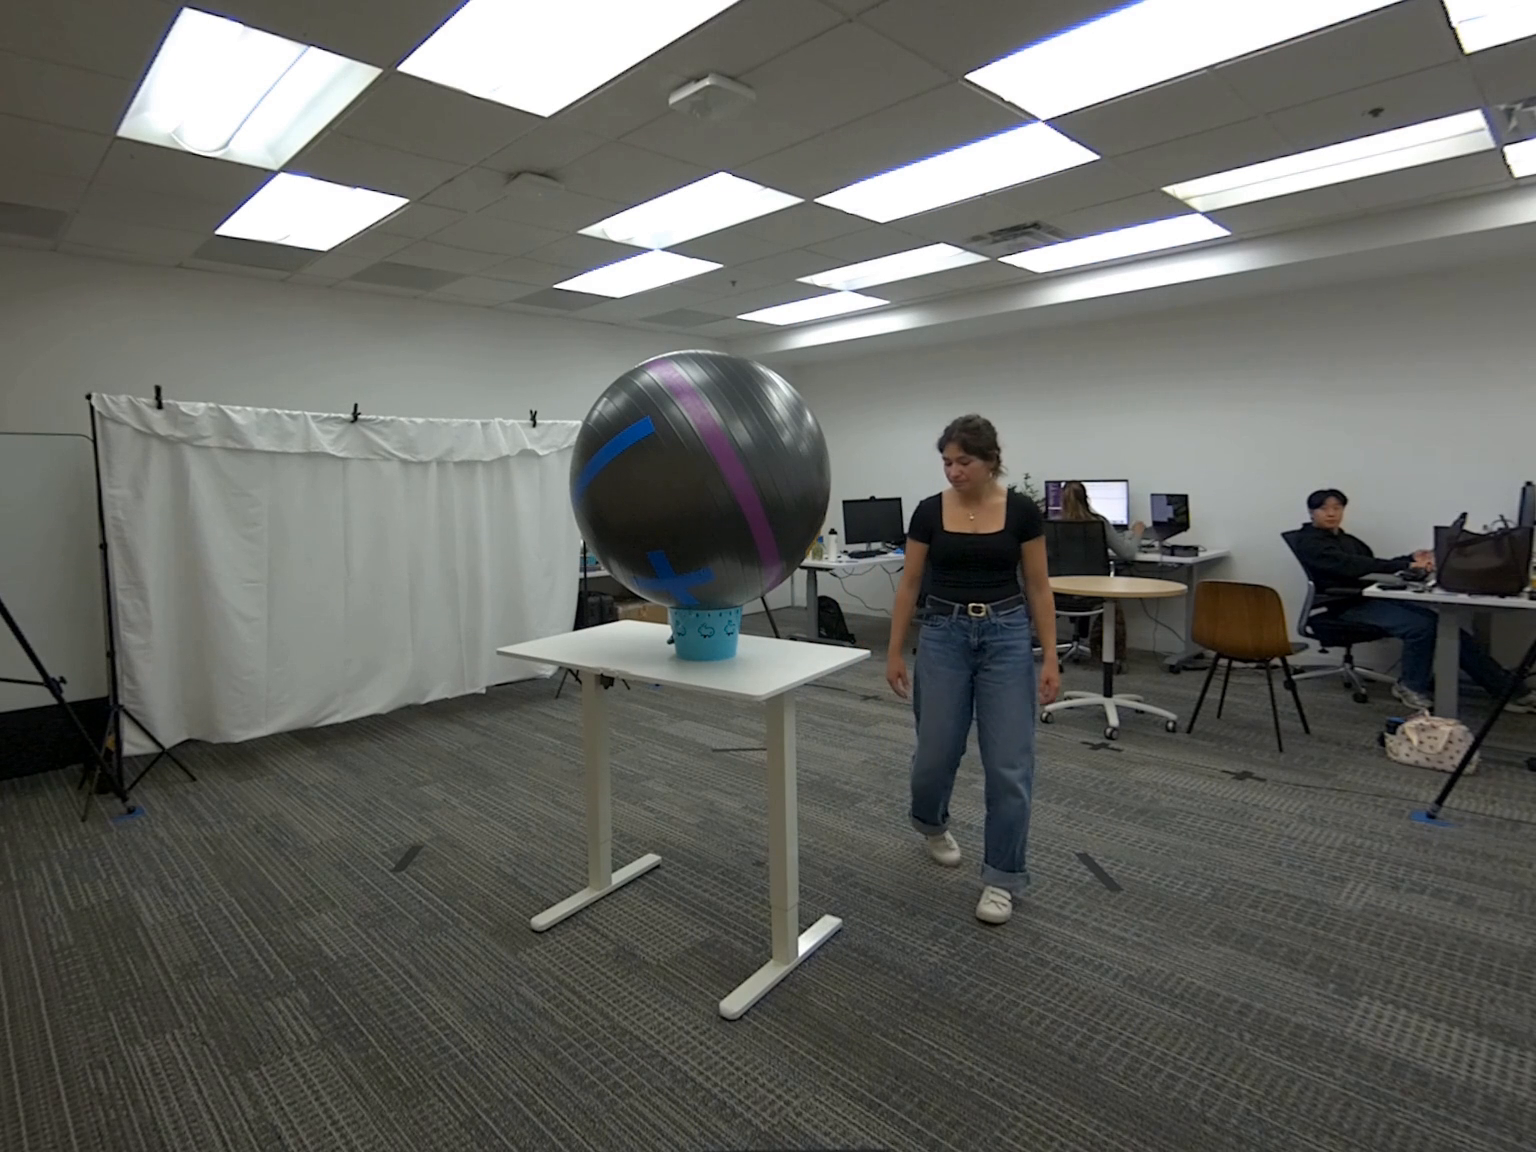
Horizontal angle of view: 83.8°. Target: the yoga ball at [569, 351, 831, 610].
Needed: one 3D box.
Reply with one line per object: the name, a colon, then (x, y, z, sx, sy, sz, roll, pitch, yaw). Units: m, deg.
yoga ball: (-0.192, -0.271, 2.507, 0.757, 0.755, 0.762, -1, 5, -2)
